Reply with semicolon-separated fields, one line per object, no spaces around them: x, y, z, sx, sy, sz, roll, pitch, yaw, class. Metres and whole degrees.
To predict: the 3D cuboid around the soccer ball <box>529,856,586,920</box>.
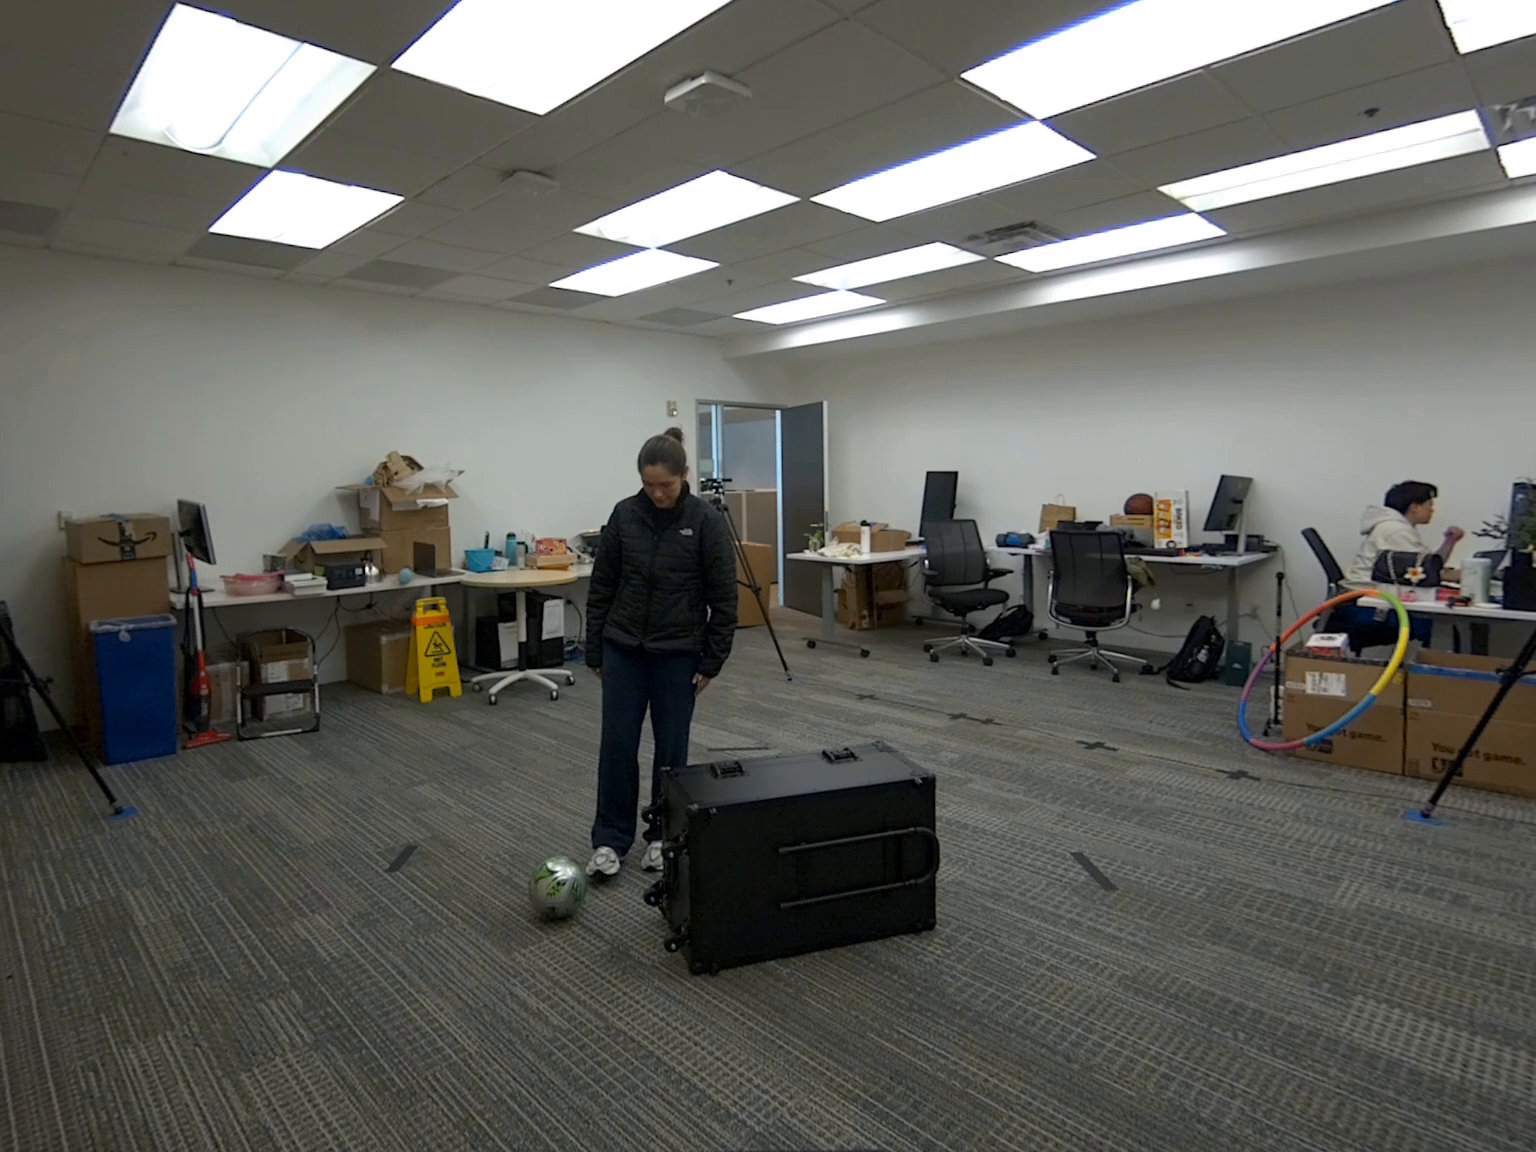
-0.671;1.003;2.757;0.187;0.187;0.188;-1;5;-2;soccer ball
